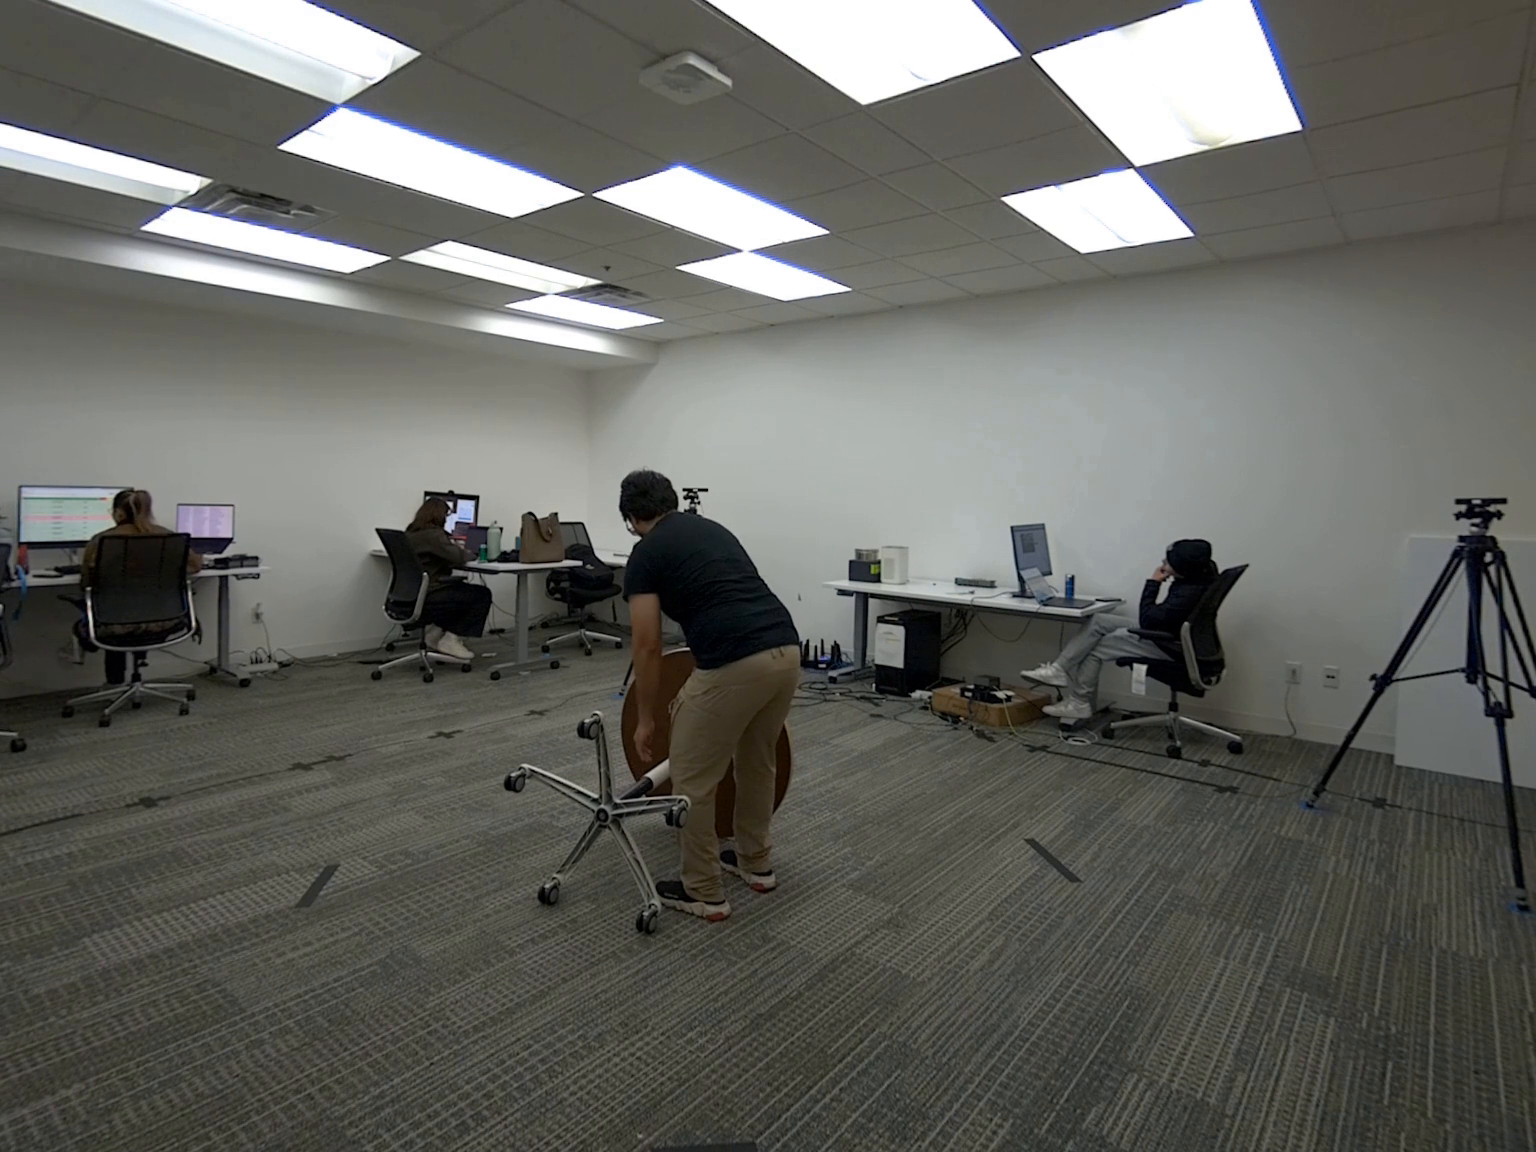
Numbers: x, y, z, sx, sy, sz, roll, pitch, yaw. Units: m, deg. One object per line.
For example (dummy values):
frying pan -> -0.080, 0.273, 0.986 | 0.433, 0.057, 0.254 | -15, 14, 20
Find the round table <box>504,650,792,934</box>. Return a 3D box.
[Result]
round table -> -0.426, 0.715, 3.040 | 0.806, 0.779, 0.772 | 3, 9, 25
